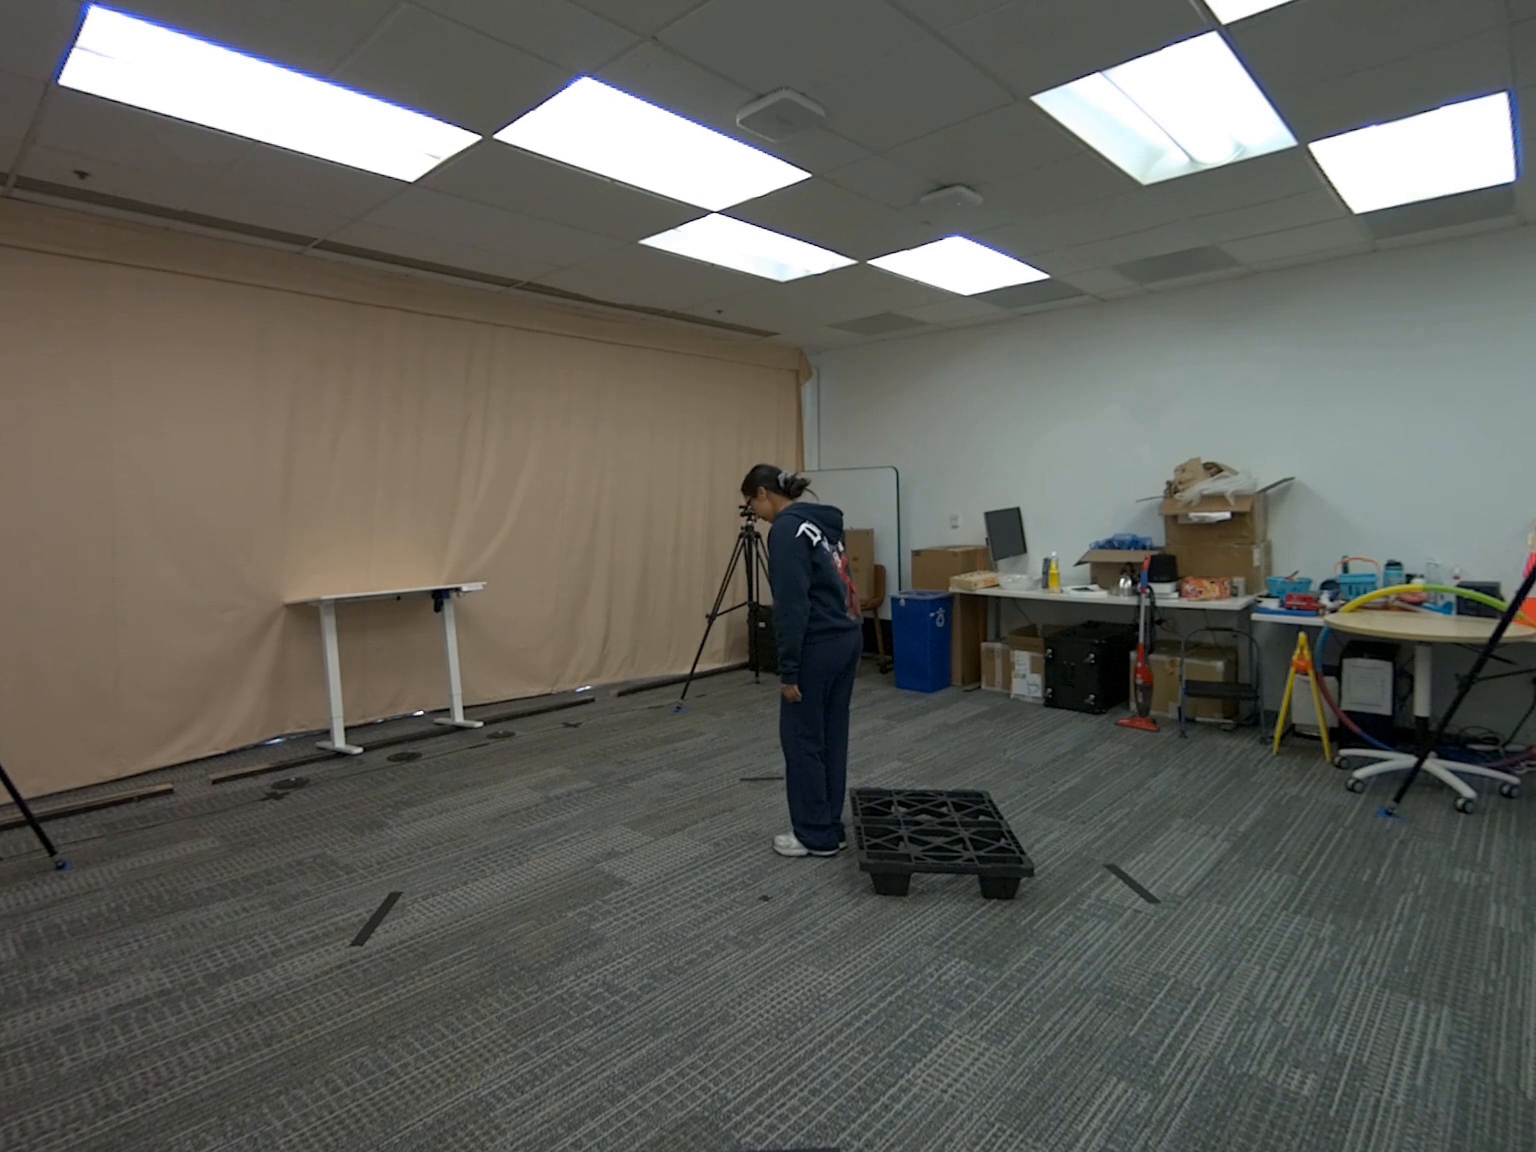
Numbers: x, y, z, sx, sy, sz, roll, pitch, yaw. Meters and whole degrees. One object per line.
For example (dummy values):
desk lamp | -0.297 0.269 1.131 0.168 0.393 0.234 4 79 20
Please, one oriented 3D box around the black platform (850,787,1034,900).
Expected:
black platform | 0.649 1.034 3.315 0.608 0.143 0.803 0 5 4
